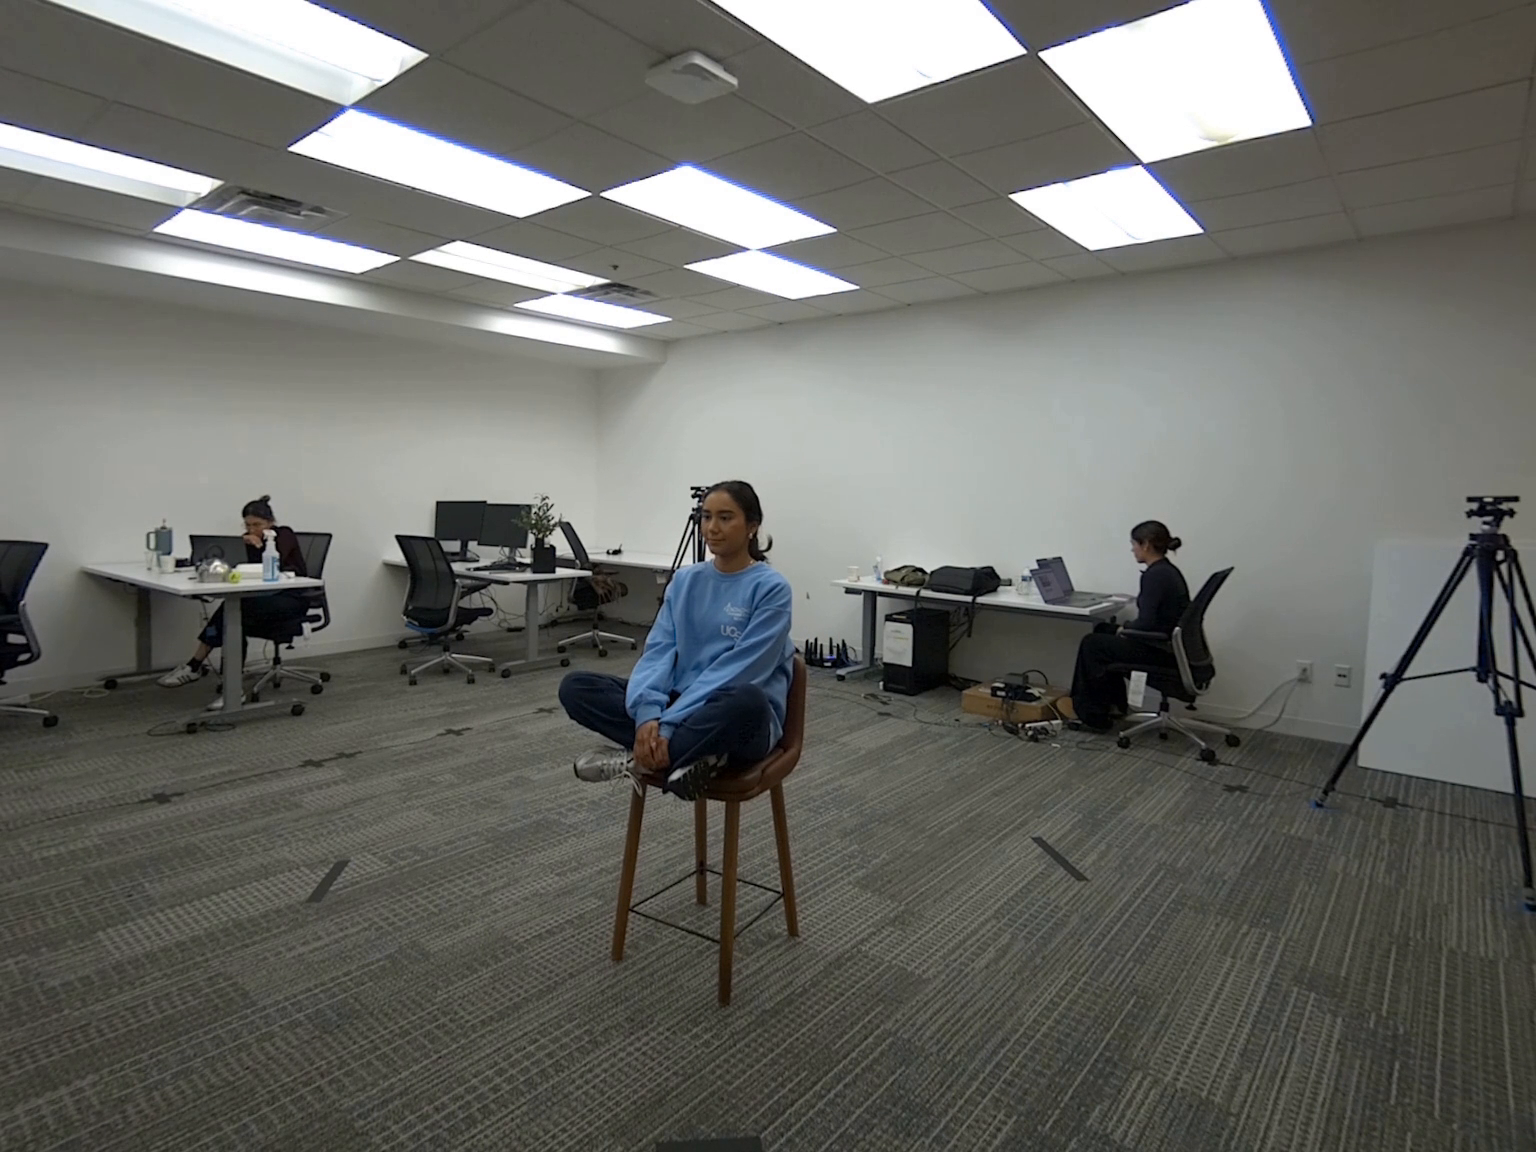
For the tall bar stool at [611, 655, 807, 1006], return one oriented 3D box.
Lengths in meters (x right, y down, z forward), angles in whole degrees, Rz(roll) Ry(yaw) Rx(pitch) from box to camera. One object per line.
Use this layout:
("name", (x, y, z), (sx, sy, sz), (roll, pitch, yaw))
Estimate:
("tall bar stool", (-0.169, 0.687, 2.557), (0.470, 0.888, 0.454), (4, 2, 32))
